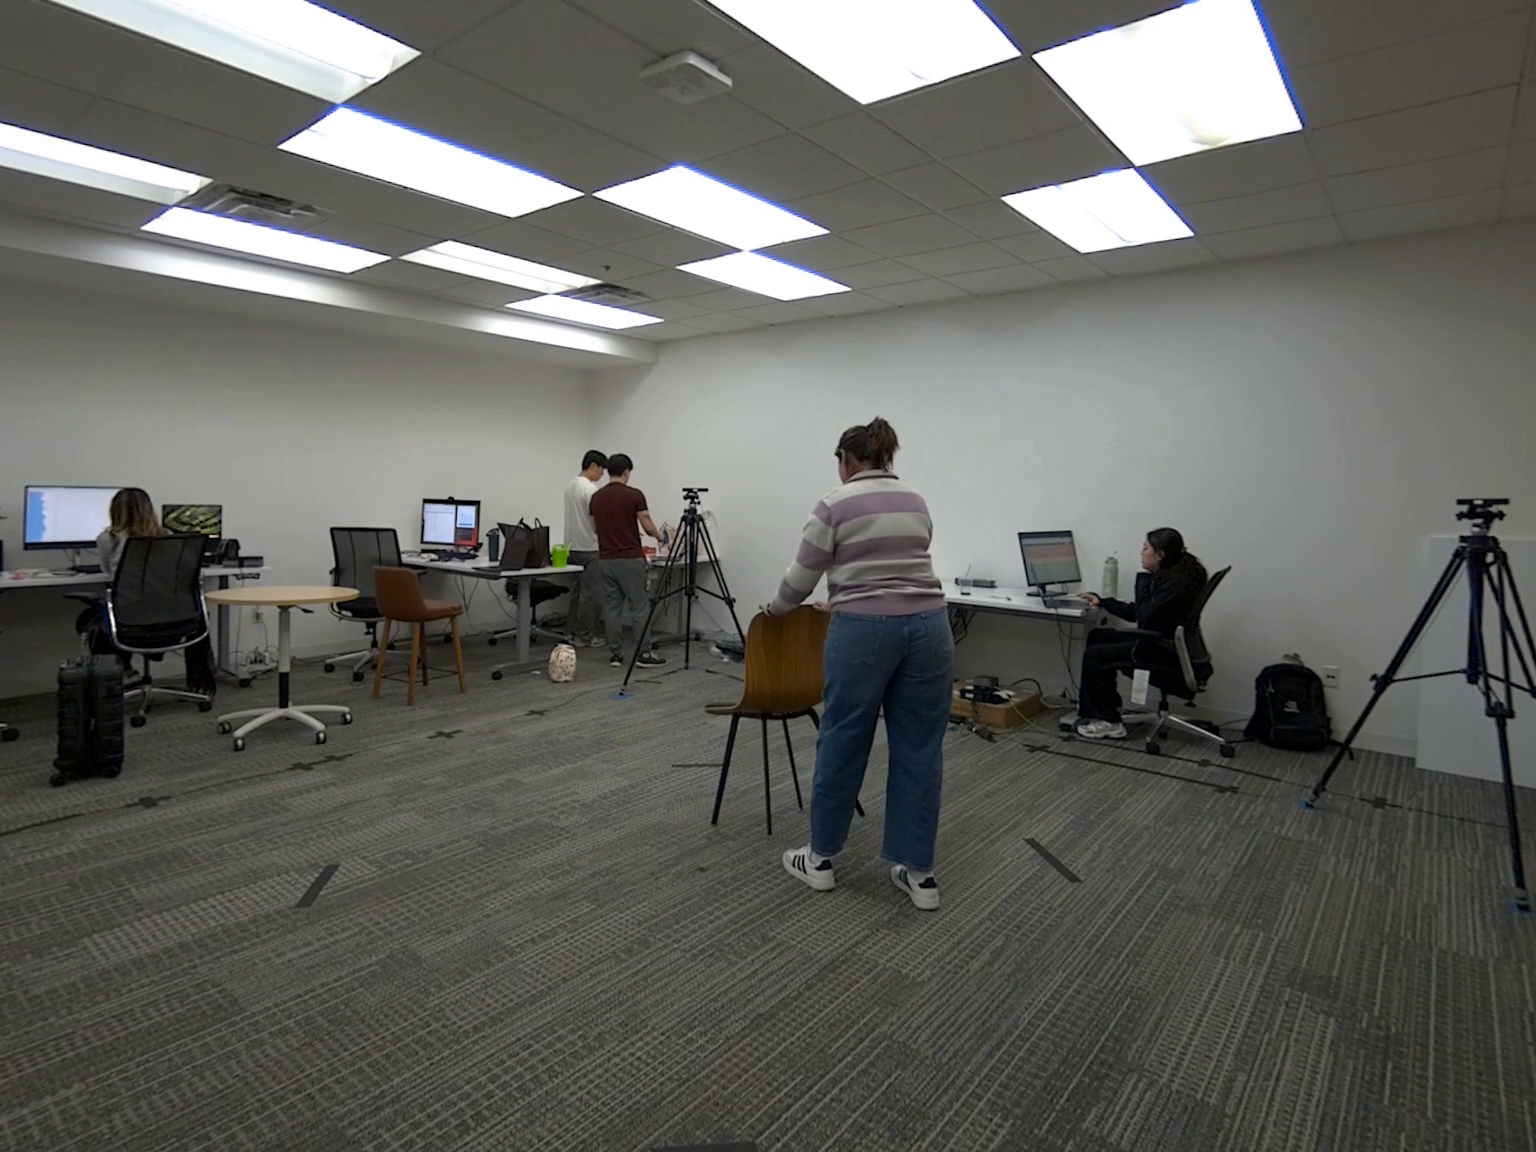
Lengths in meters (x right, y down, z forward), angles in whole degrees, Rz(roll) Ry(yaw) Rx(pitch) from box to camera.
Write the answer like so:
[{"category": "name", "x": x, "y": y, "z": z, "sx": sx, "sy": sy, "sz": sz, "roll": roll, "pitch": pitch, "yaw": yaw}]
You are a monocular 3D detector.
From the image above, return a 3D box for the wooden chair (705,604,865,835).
[{"category": "wooden chair", "x": 0.010, "y": 0.568, "z": 3.520, "sx": 0.465, "sy": 0.883, "sz": 0.534, "roll": -1, "pitch": -7, "yaw": -30}]
